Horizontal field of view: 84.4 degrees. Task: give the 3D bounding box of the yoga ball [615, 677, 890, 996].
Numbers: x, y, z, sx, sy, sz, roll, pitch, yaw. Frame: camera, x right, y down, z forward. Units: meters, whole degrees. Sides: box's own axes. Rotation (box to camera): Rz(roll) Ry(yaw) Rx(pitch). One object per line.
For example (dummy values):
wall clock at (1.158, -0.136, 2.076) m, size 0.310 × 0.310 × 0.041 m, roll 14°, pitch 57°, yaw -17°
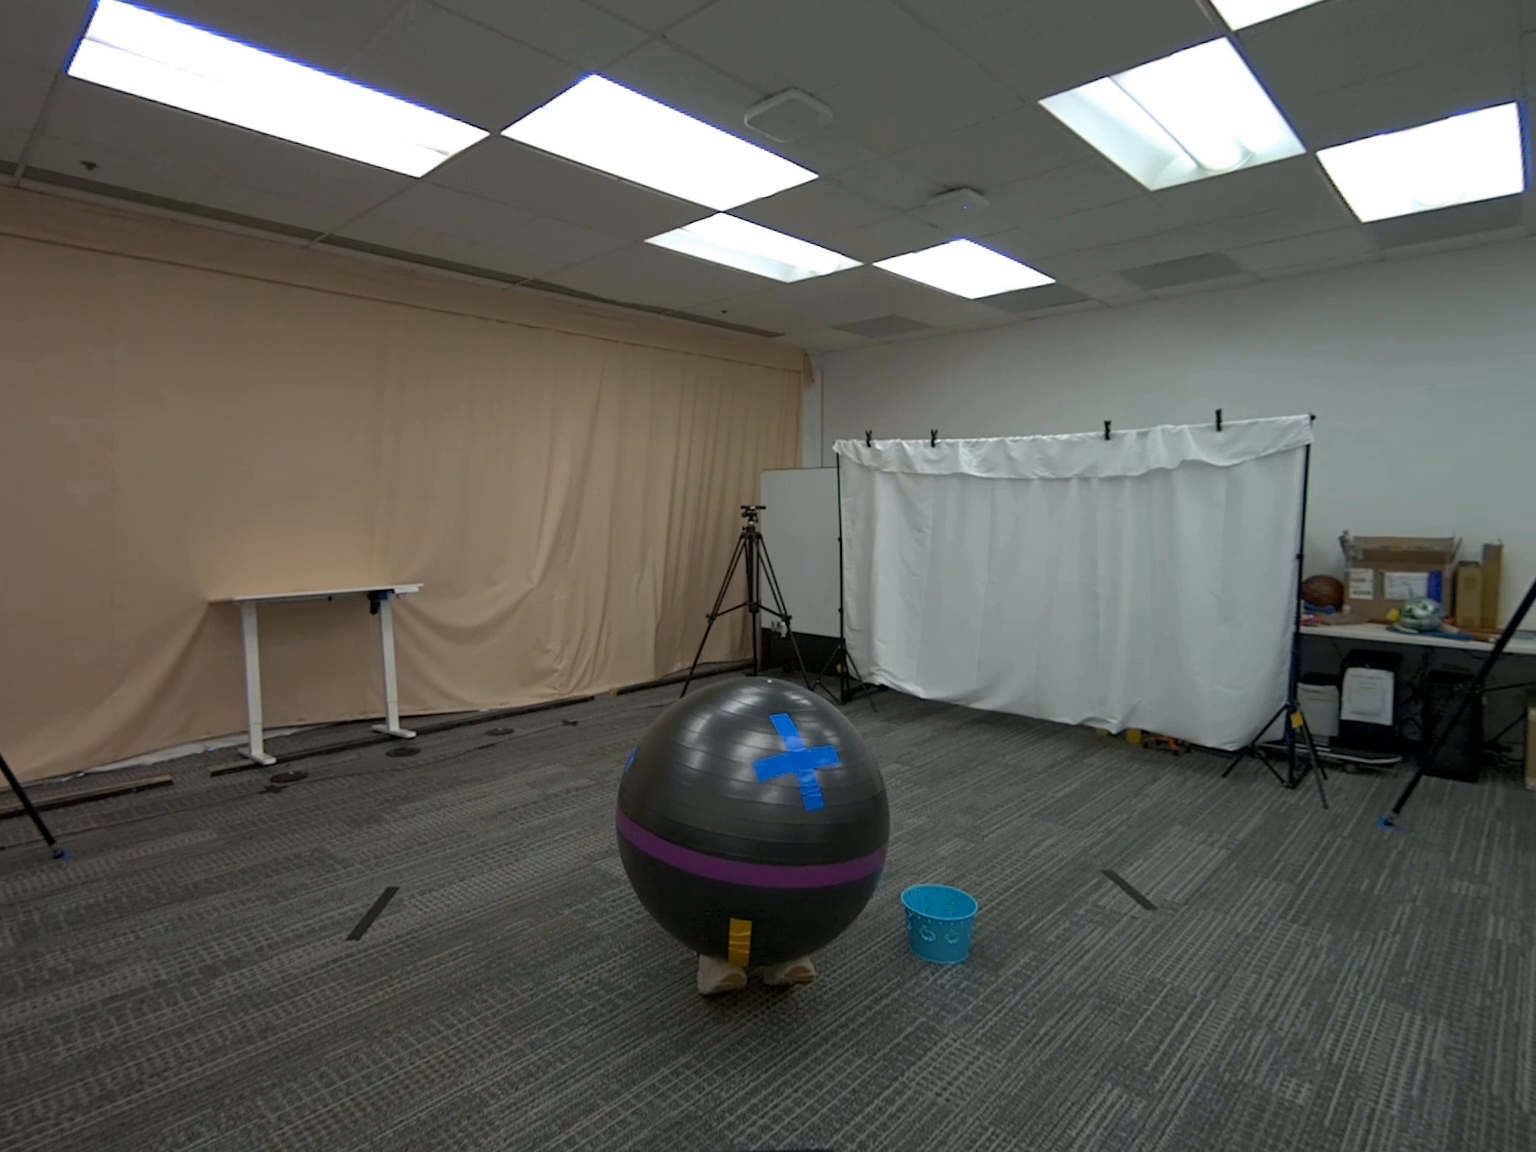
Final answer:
yoga ball at (-0.036, 0.670, 2.342) m, size 0.757 × 0.756 × 0.761 m, roll 0°, pitch 4°, yaw -2°
